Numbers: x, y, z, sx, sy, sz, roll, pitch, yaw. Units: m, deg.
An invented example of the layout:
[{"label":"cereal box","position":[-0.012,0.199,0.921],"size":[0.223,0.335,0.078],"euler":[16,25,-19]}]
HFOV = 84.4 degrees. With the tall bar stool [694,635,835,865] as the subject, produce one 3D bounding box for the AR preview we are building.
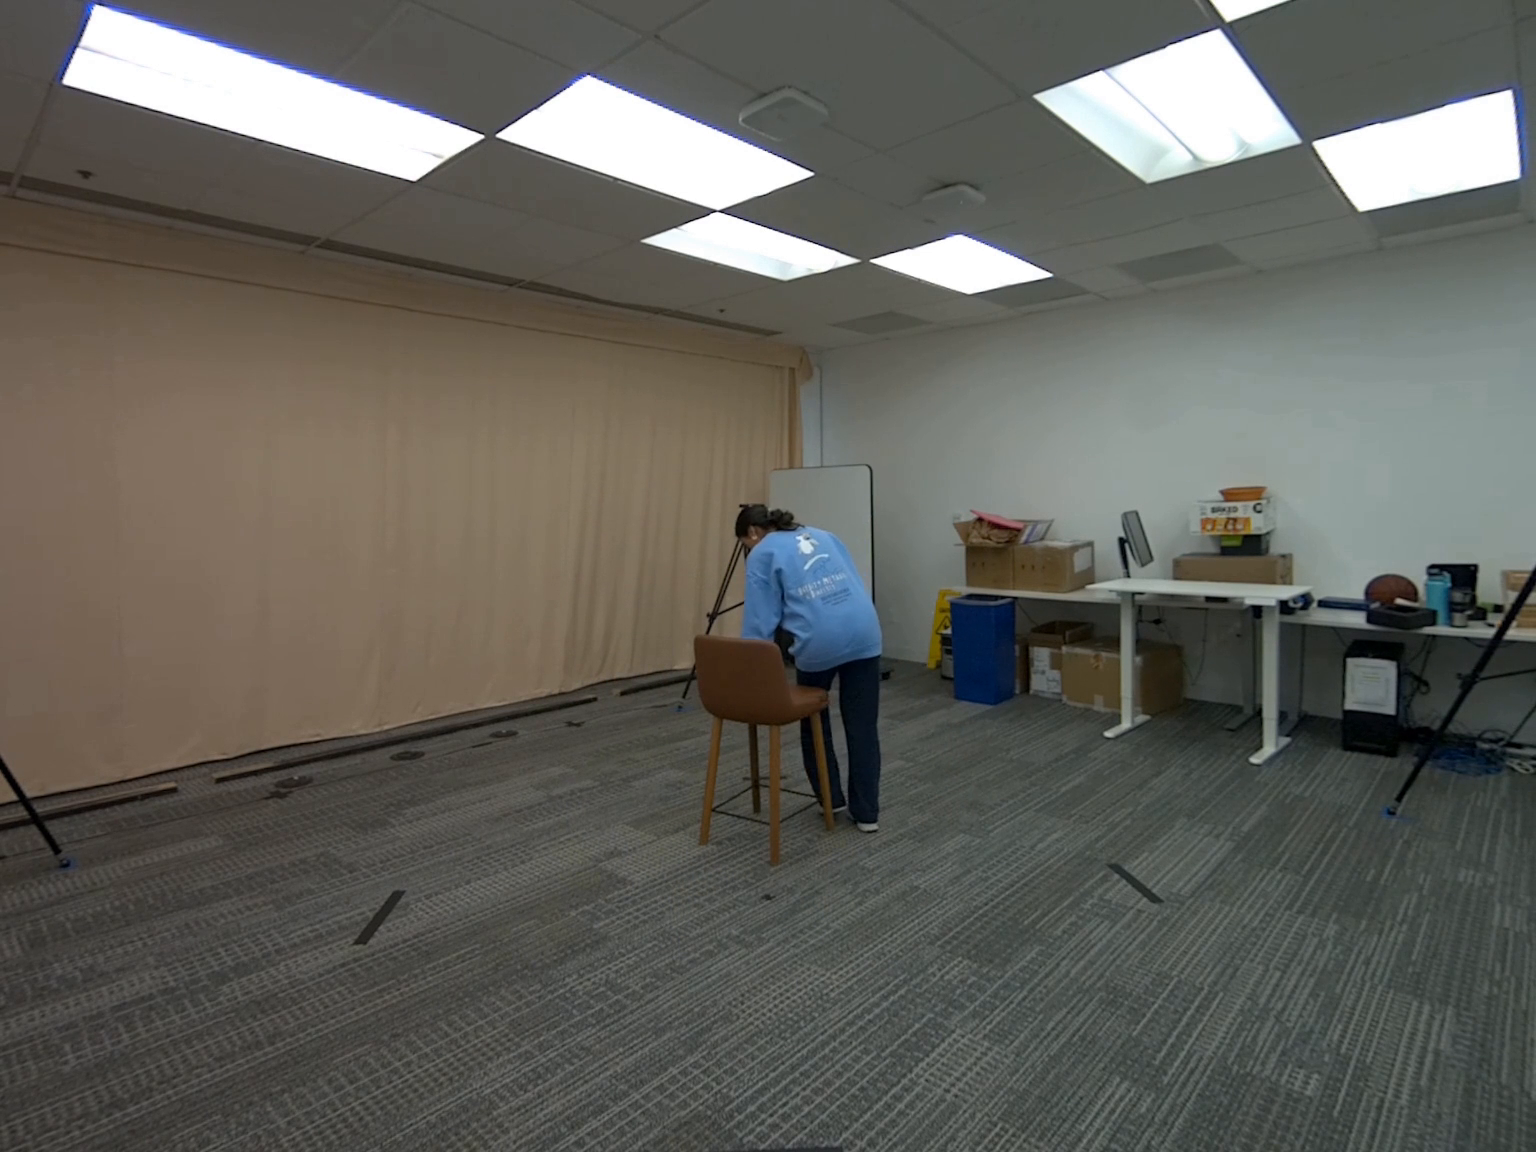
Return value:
[{"label":"tall bar stool","position":[-0.019,0.660,3.506],"size":[0.471,0.887,0.454],"euler":[1,5,35]}]
